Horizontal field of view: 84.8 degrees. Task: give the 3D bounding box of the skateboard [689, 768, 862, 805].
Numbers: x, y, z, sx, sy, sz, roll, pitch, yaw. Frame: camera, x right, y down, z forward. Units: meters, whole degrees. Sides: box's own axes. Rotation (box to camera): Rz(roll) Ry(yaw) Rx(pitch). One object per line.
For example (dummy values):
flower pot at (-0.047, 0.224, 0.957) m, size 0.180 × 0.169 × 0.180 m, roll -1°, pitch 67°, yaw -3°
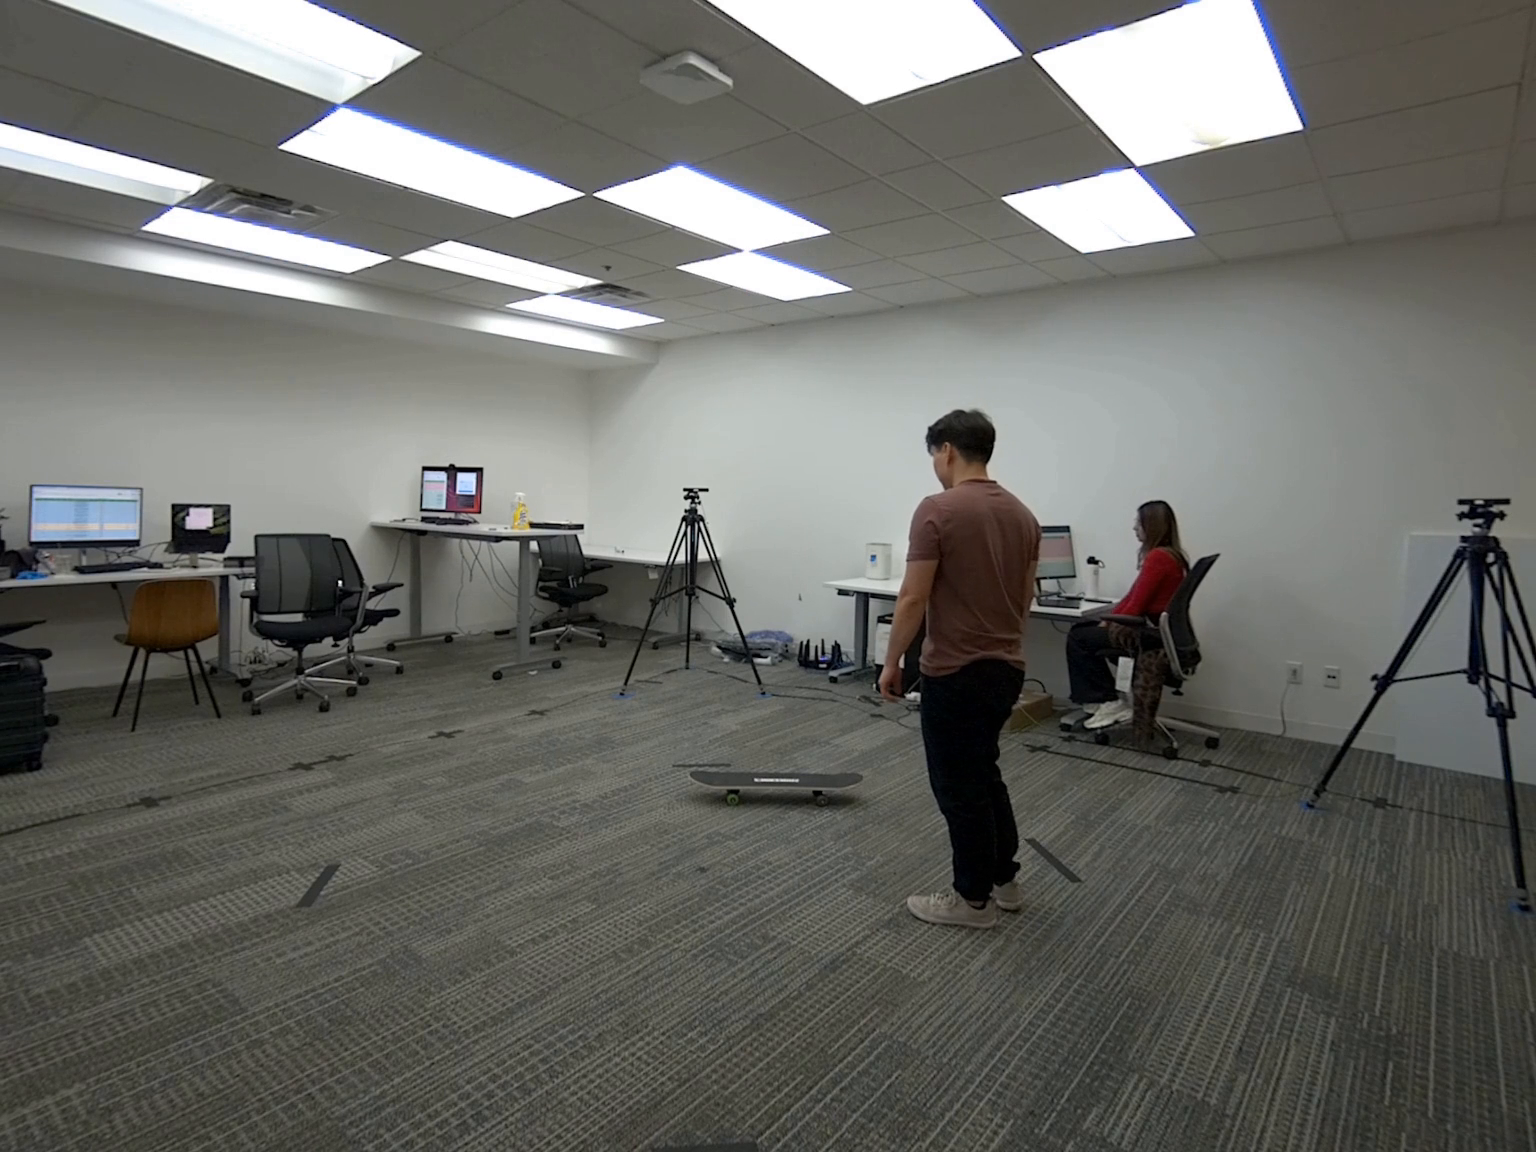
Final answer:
skateboard at (0.030, 0.948, 3.838) m, size 0.785 × 0.110 × 0.194 m, roll 1°, pitch 6°, yaw -1°
